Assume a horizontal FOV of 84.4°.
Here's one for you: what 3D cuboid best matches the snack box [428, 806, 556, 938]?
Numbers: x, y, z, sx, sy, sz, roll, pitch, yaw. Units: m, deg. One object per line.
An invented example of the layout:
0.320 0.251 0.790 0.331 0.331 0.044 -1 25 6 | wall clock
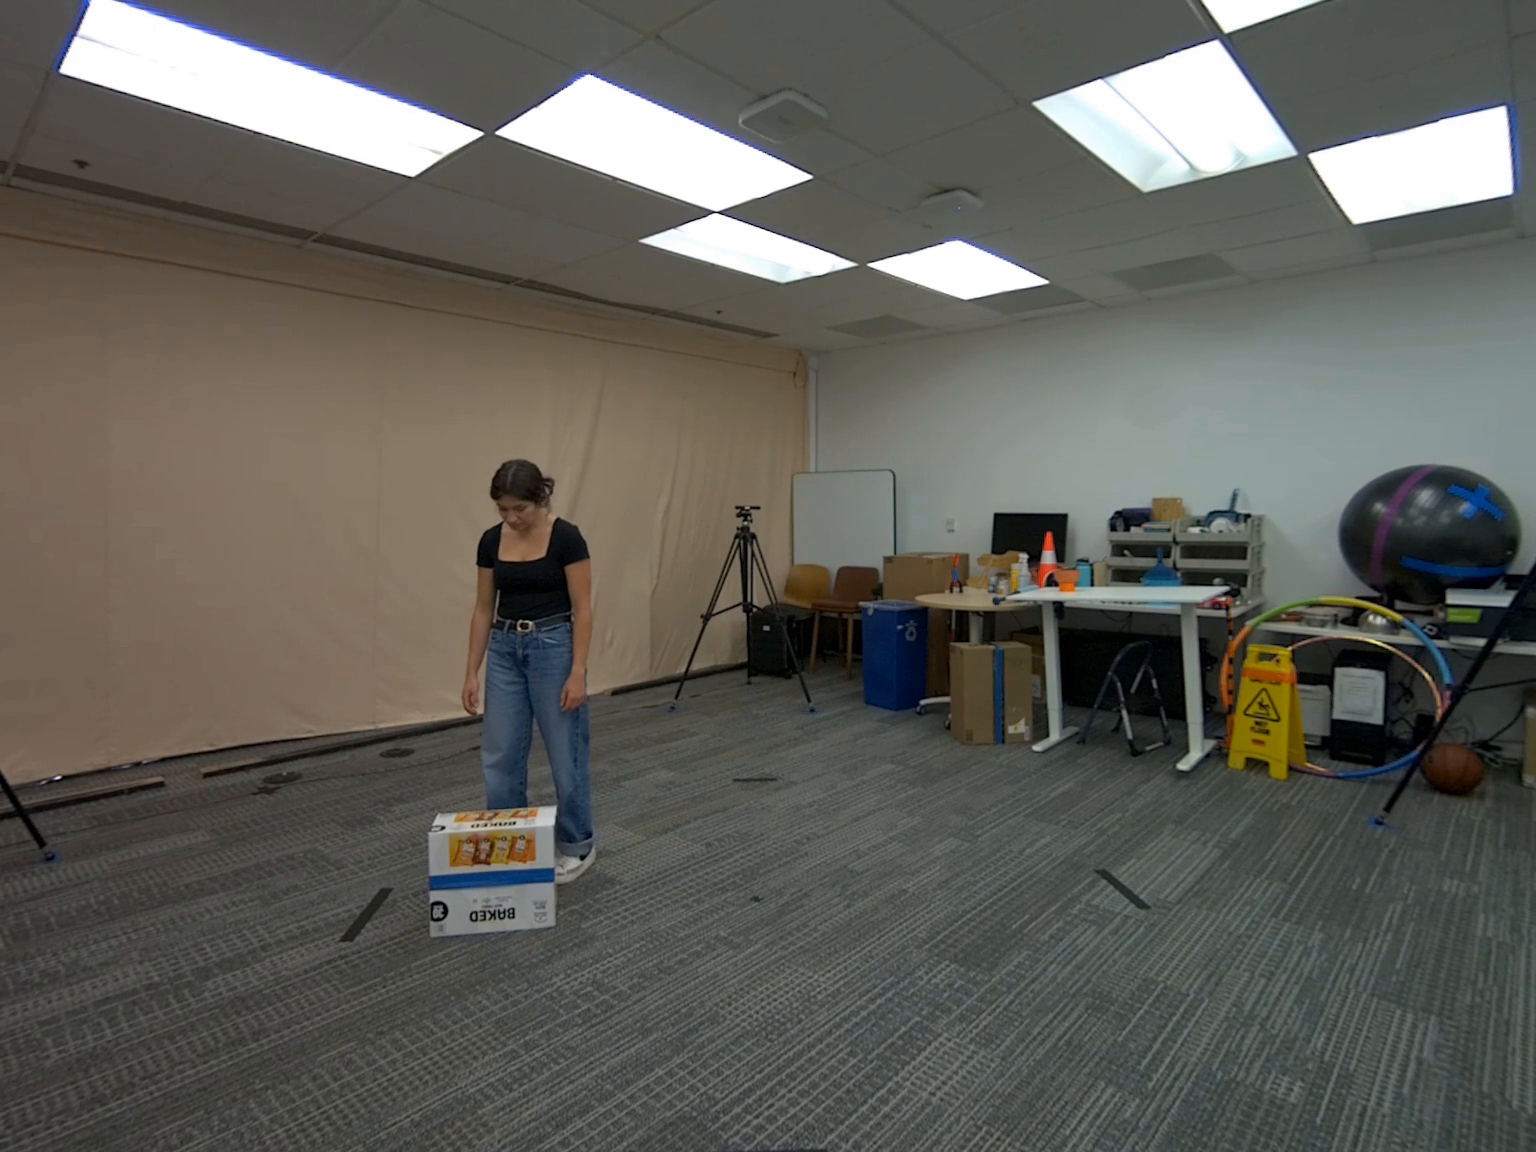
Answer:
-0.926 0.993 2.852 0.401 0.340 0.208 -1 1 -10 | snack box
